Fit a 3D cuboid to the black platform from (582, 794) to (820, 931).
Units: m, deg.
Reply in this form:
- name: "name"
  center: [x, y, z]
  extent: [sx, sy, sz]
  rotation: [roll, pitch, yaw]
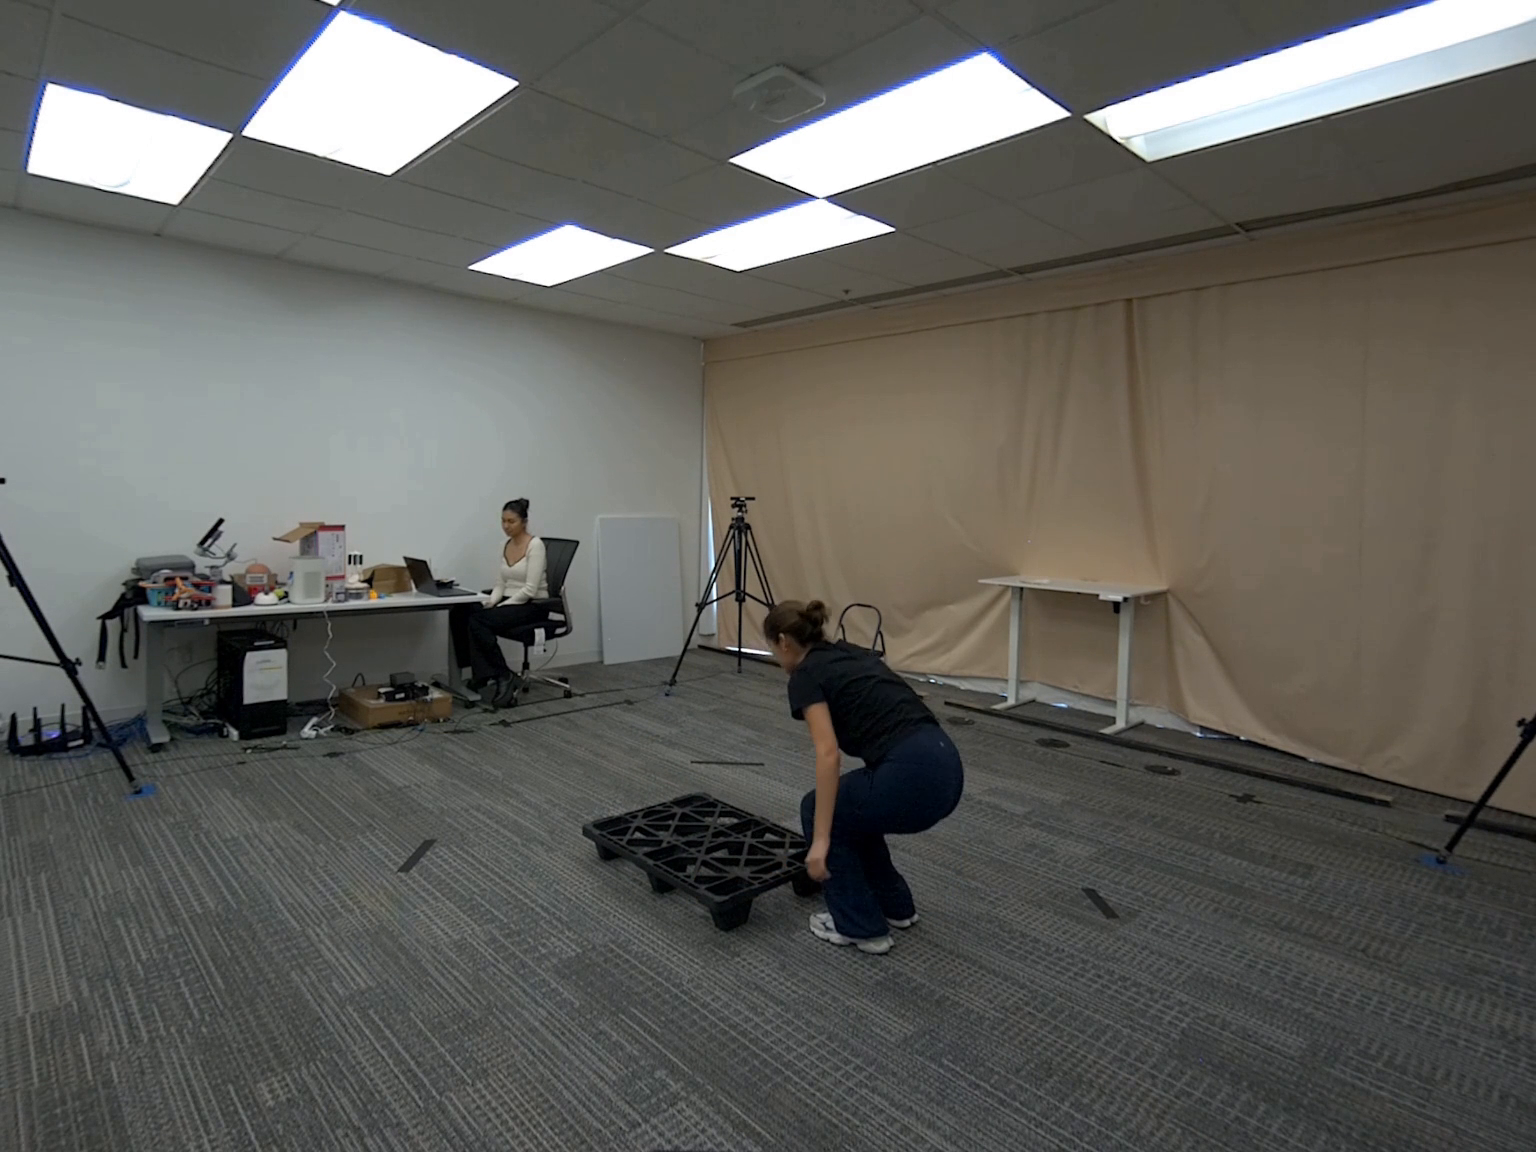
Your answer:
- name: "black platform"
  center: [-0.230, 1.042, 3.117]
  extent: [0.591, 0.143, 0.826]
  rotation: [-4, 8, -43]
